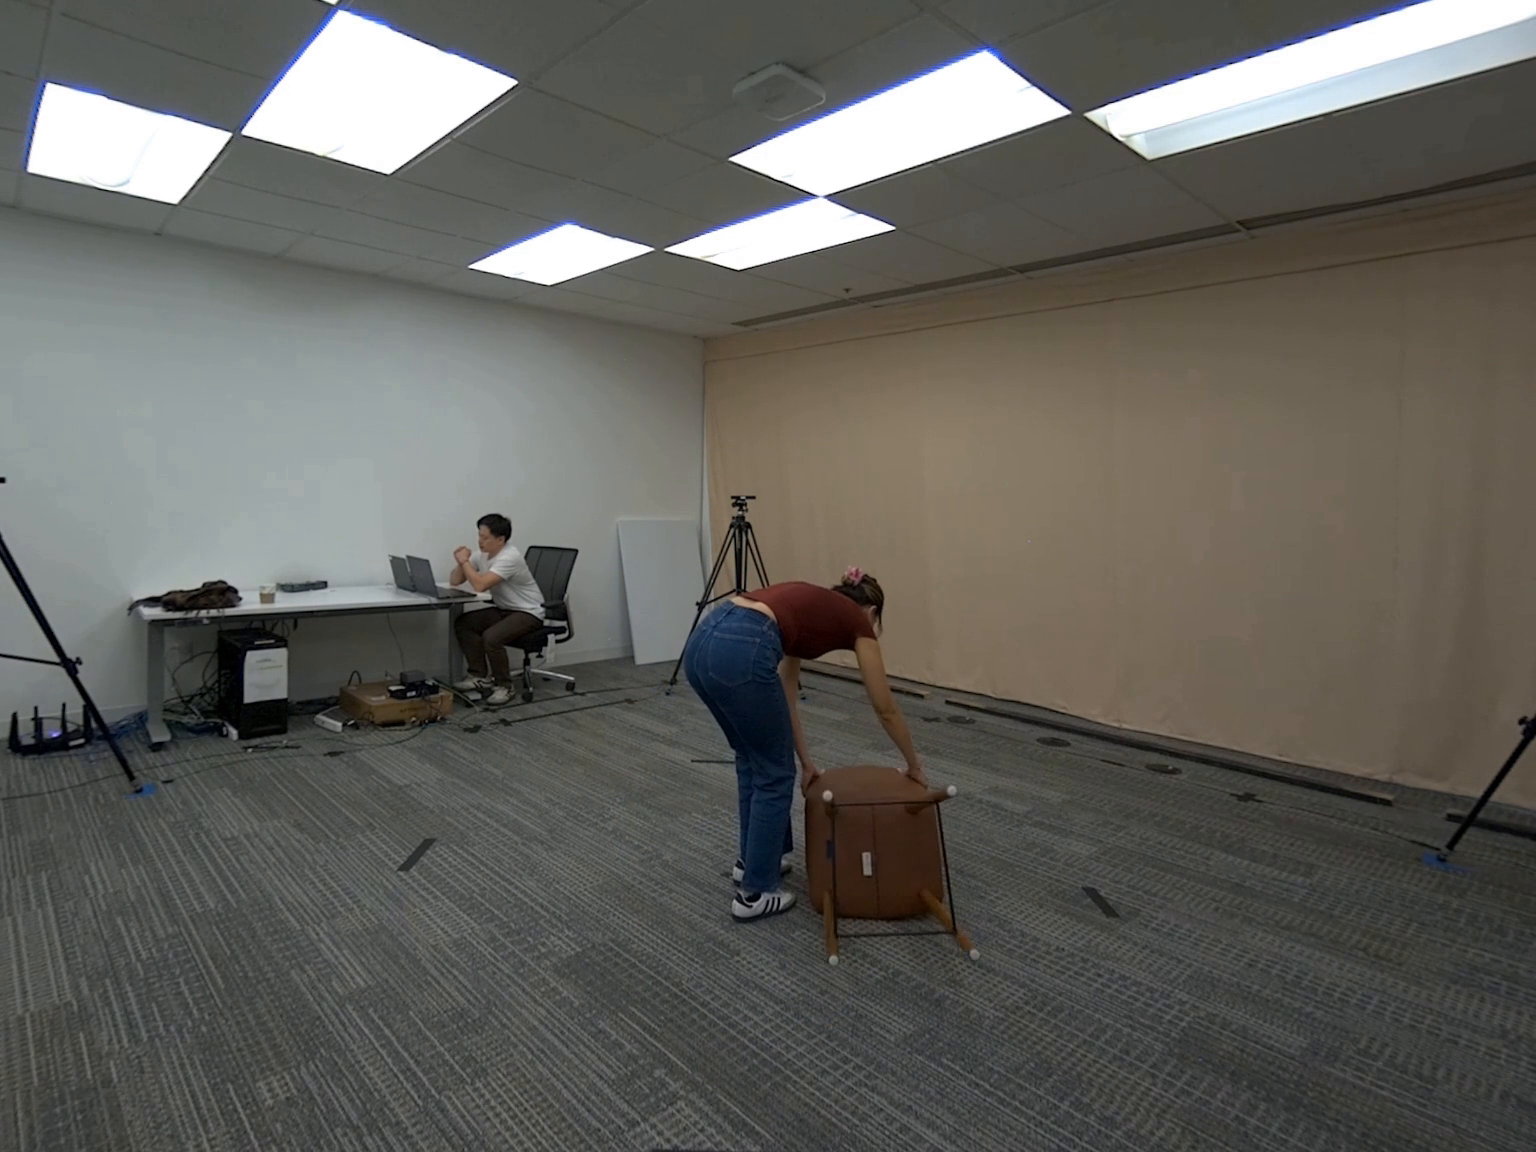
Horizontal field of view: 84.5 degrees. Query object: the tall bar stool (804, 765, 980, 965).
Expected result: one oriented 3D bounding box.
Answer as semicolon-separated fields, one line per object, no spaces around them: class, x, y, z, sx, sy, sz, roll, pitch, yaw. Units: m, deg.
tall bar stool;0.347;0.890;2.727;0.457;0.471;0.882;-3;-9;0
